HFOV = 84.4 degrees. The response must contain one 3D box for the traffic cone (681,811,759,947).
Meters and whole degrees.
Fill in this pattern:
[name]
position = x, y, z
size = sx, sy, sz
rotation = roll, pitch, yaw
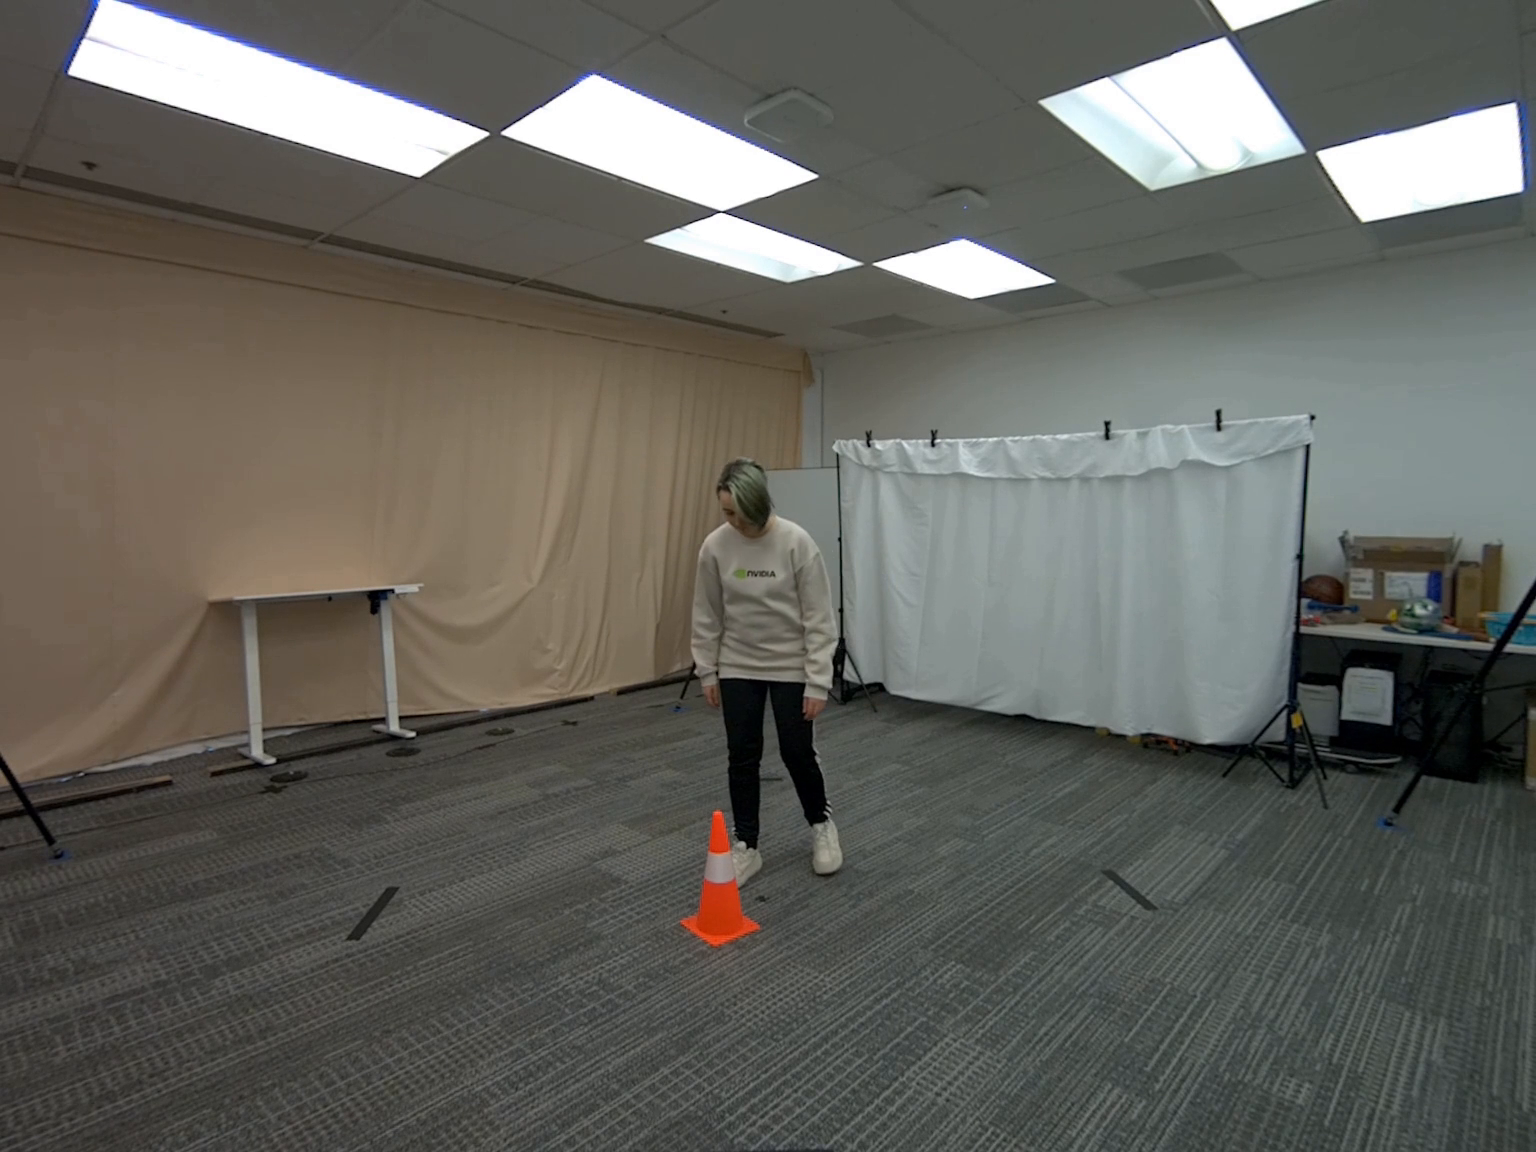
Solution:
[traffic cone]
position = -0.158, 0.978, 2.788
size = 0.198, 0.383, 0.211
rotation = -2, 2, -31
